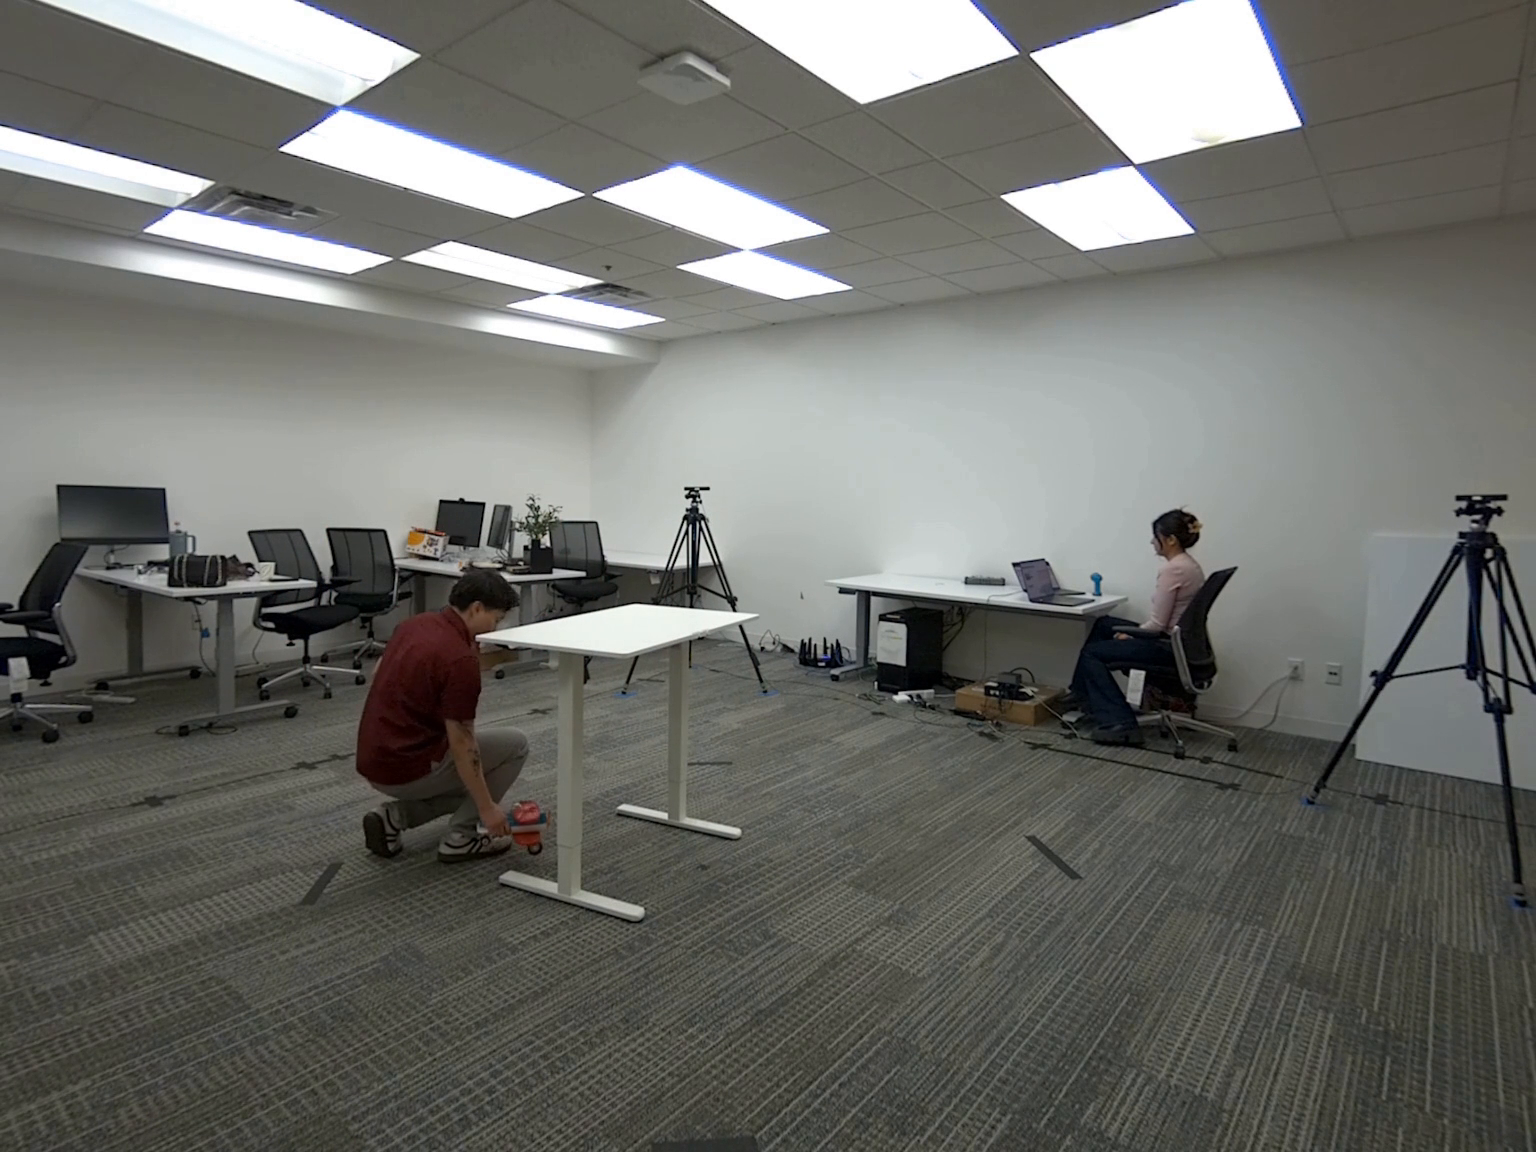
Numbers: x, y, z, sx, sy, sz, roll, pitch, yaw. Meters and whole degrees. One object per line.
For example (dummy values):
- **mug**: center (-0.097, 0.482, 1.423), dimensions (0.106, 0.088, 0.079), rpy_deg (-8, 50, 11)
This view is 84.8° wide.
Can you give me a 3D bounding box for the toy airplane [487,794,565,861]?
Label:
- **toy airplane**: center (-0.939, 0.913, 3.073), dimensions (0.260, 0.157, 0.249), rpy_deg (7, -8, 45)
